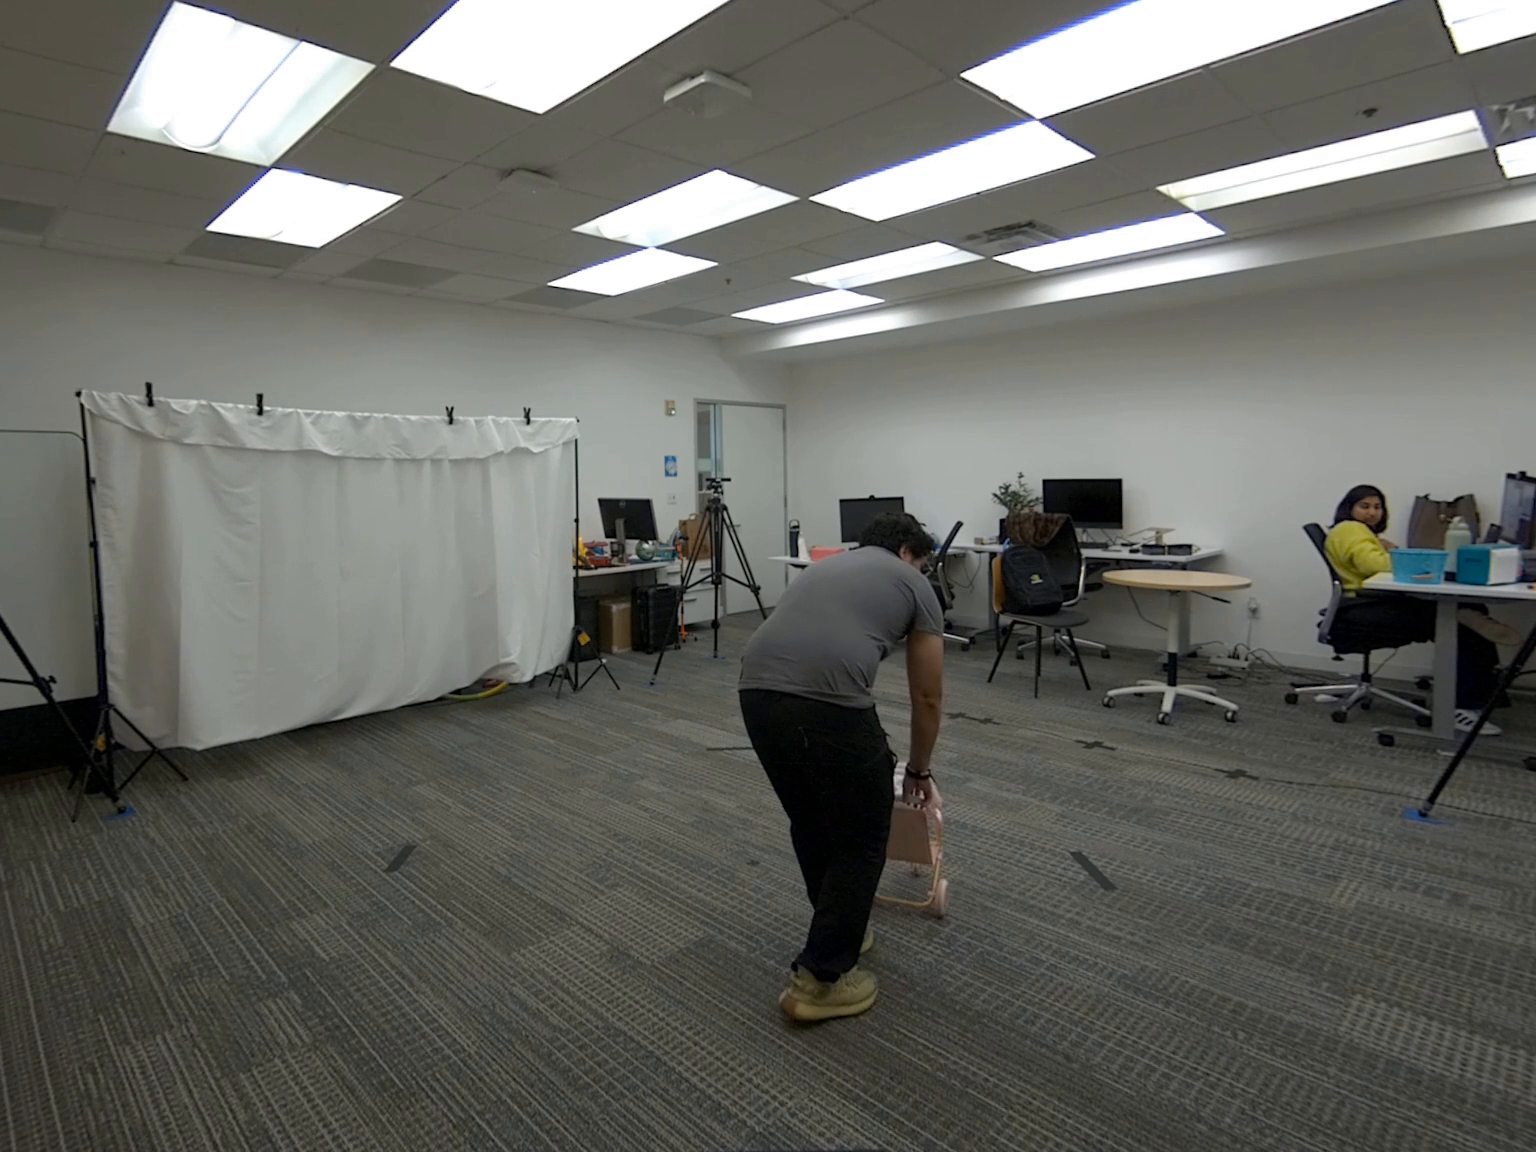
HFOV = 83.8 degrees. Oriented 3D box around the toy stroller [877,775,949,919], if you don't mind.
[{"bbox_3d":[0.461,0.843,2.808,0.288,0.525,0.340,2,21,25],"label":"toy stroller"}]
